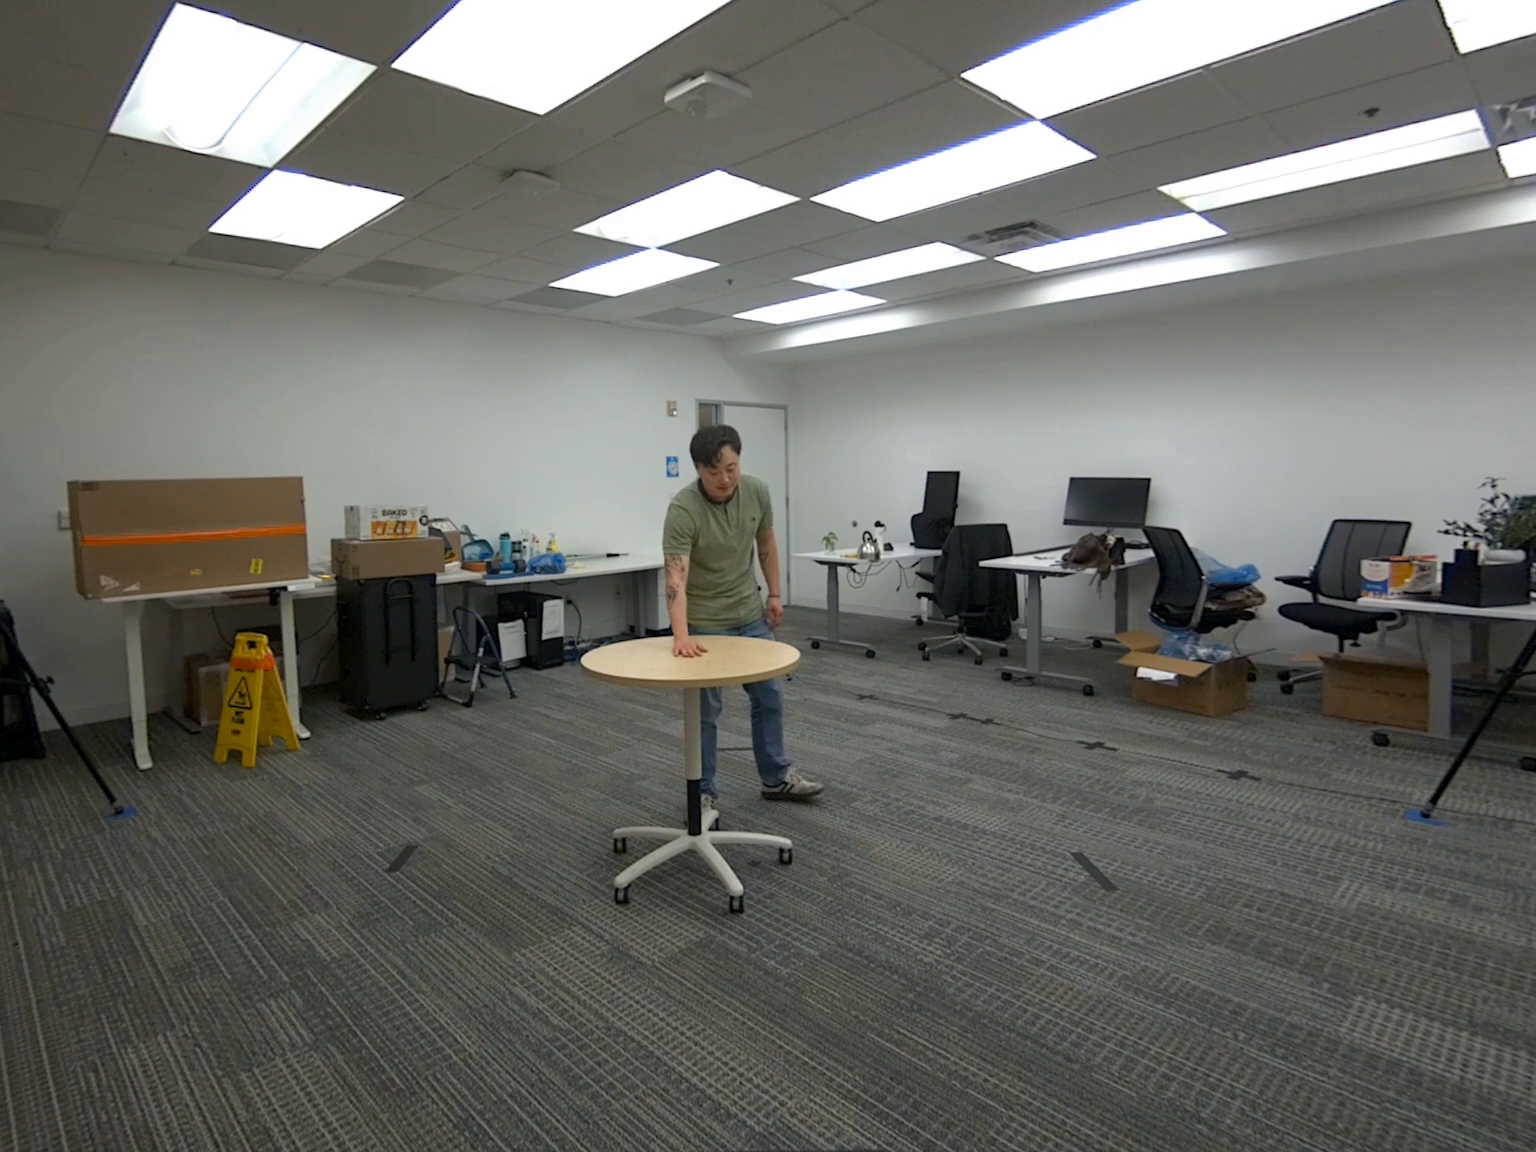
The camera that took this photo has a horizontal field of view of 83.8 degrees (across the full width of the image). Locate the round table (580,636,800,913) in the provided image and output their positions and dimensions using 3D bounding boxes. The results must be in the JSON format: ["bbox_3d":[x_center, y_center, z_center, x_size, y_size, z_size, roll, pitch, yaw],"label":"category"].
[{"bbox_3d":[-0.266,0.671,3.022,0.763,0.791,0.768,-1,5,-2],"label":"round table"}]
